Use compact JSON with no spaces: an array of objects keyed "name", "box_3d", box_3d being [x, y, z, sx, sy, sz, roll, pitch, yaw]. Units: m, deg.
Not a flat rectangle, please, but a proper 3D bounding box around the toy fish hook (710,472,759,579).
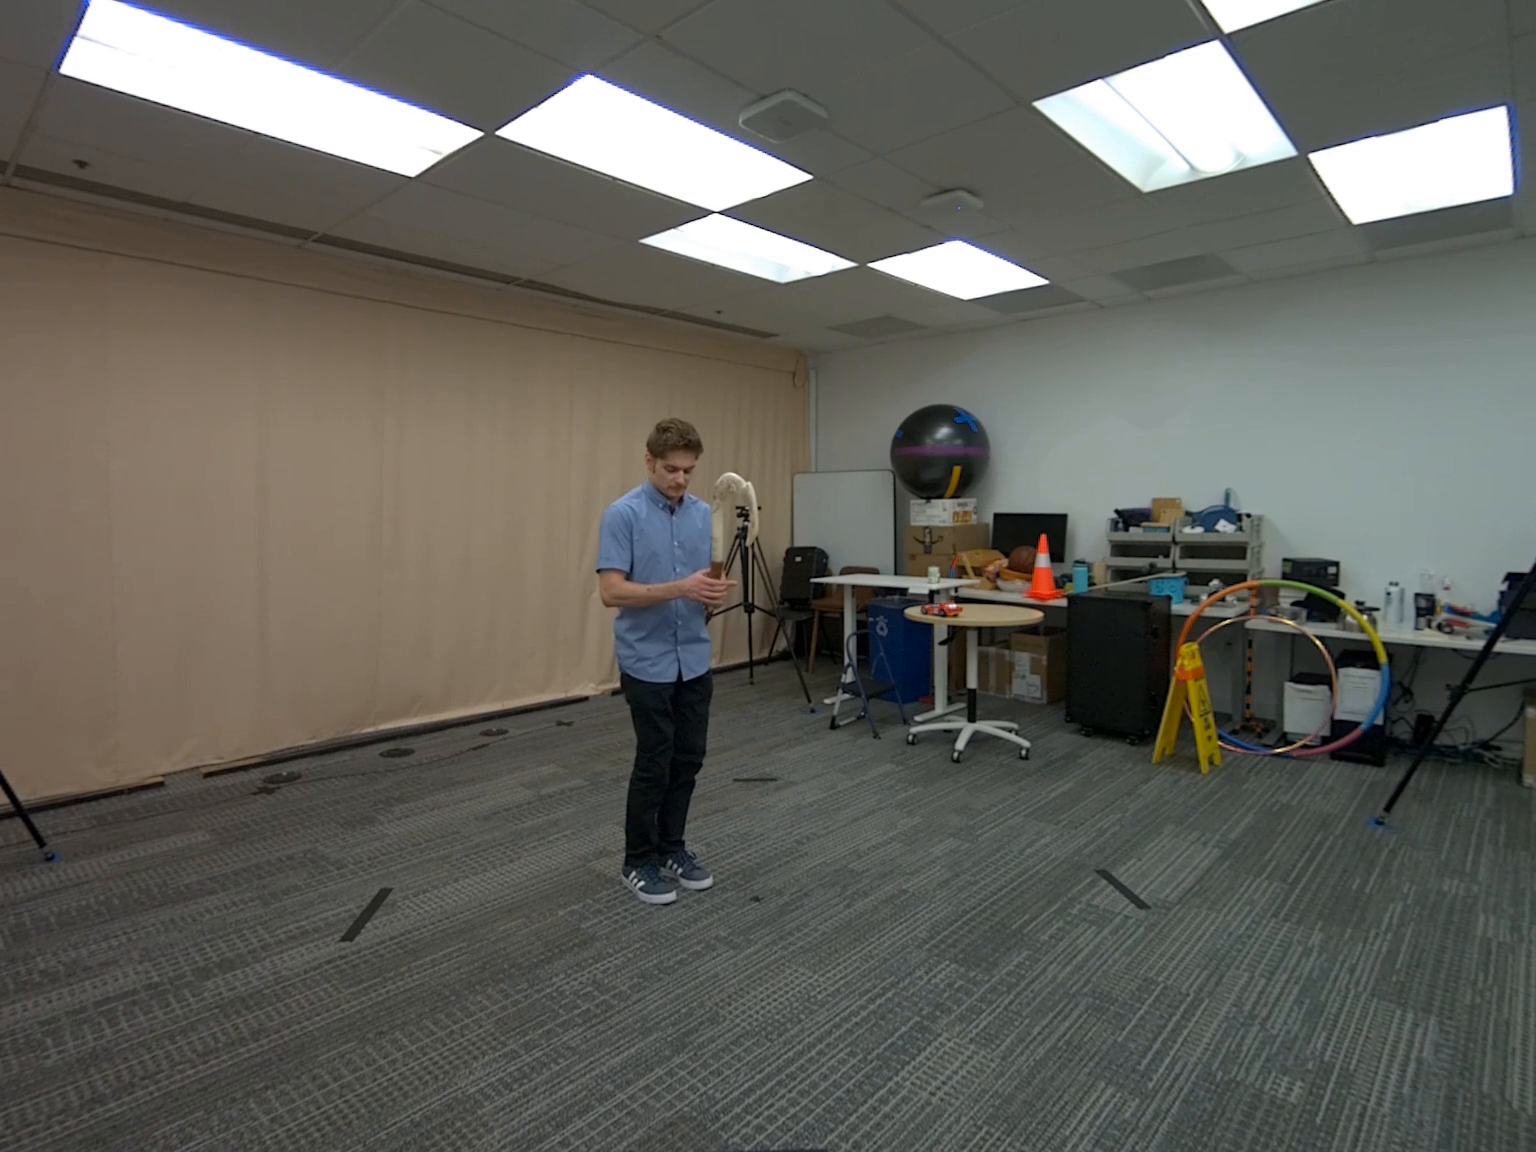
[{"name":"toy fish hook","box_3d":[-0.123,-0.079,2.697,0.047,0.501,0.233,-10,32,-35]}]
